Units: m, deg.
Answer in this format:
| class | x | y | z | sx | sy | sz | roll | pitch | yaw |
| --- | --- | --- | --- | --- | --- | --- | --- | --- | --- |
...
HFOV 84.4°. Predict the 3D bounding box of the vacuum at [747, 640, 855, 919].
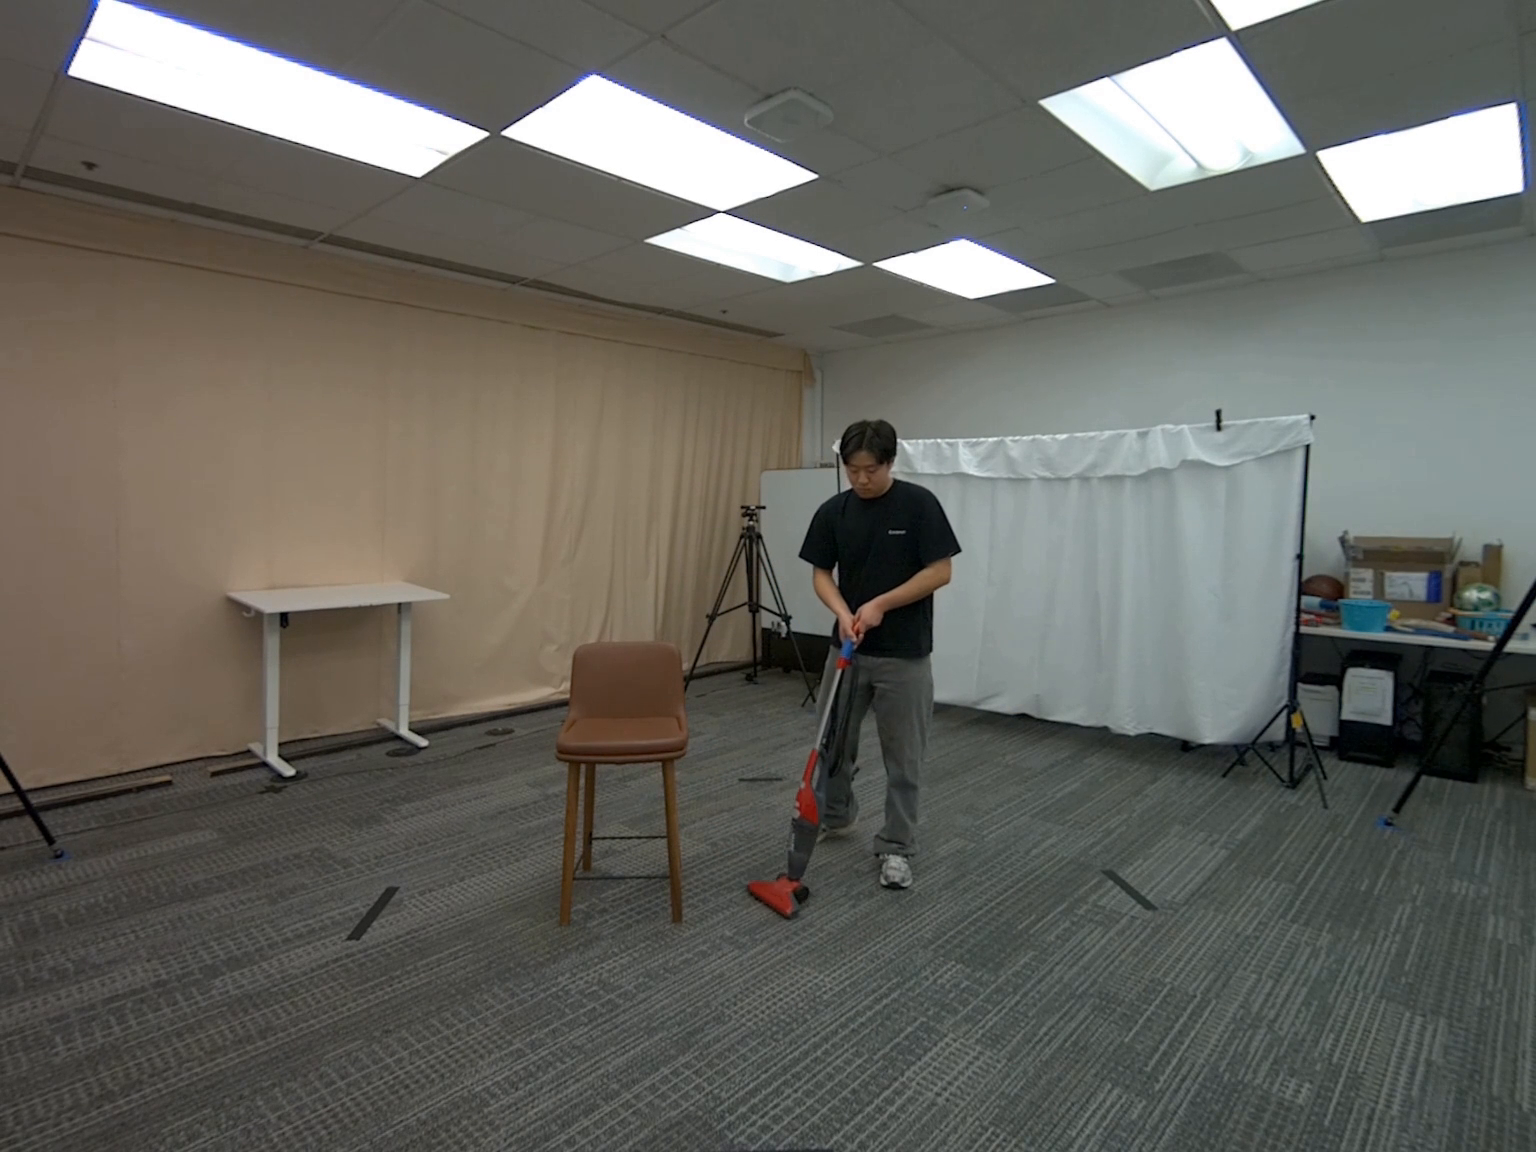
| class | x | y | z | sx | sy | sz | roll | pitch | yaw |
| --- | --- | --- | --- | --- | --- | --- | --- | --- | --- |
| vacuum | 0.197 | 0.643 | 3.035 | 0.139 | 1.052 | 0.261 | 22 | -9 | -37 |
